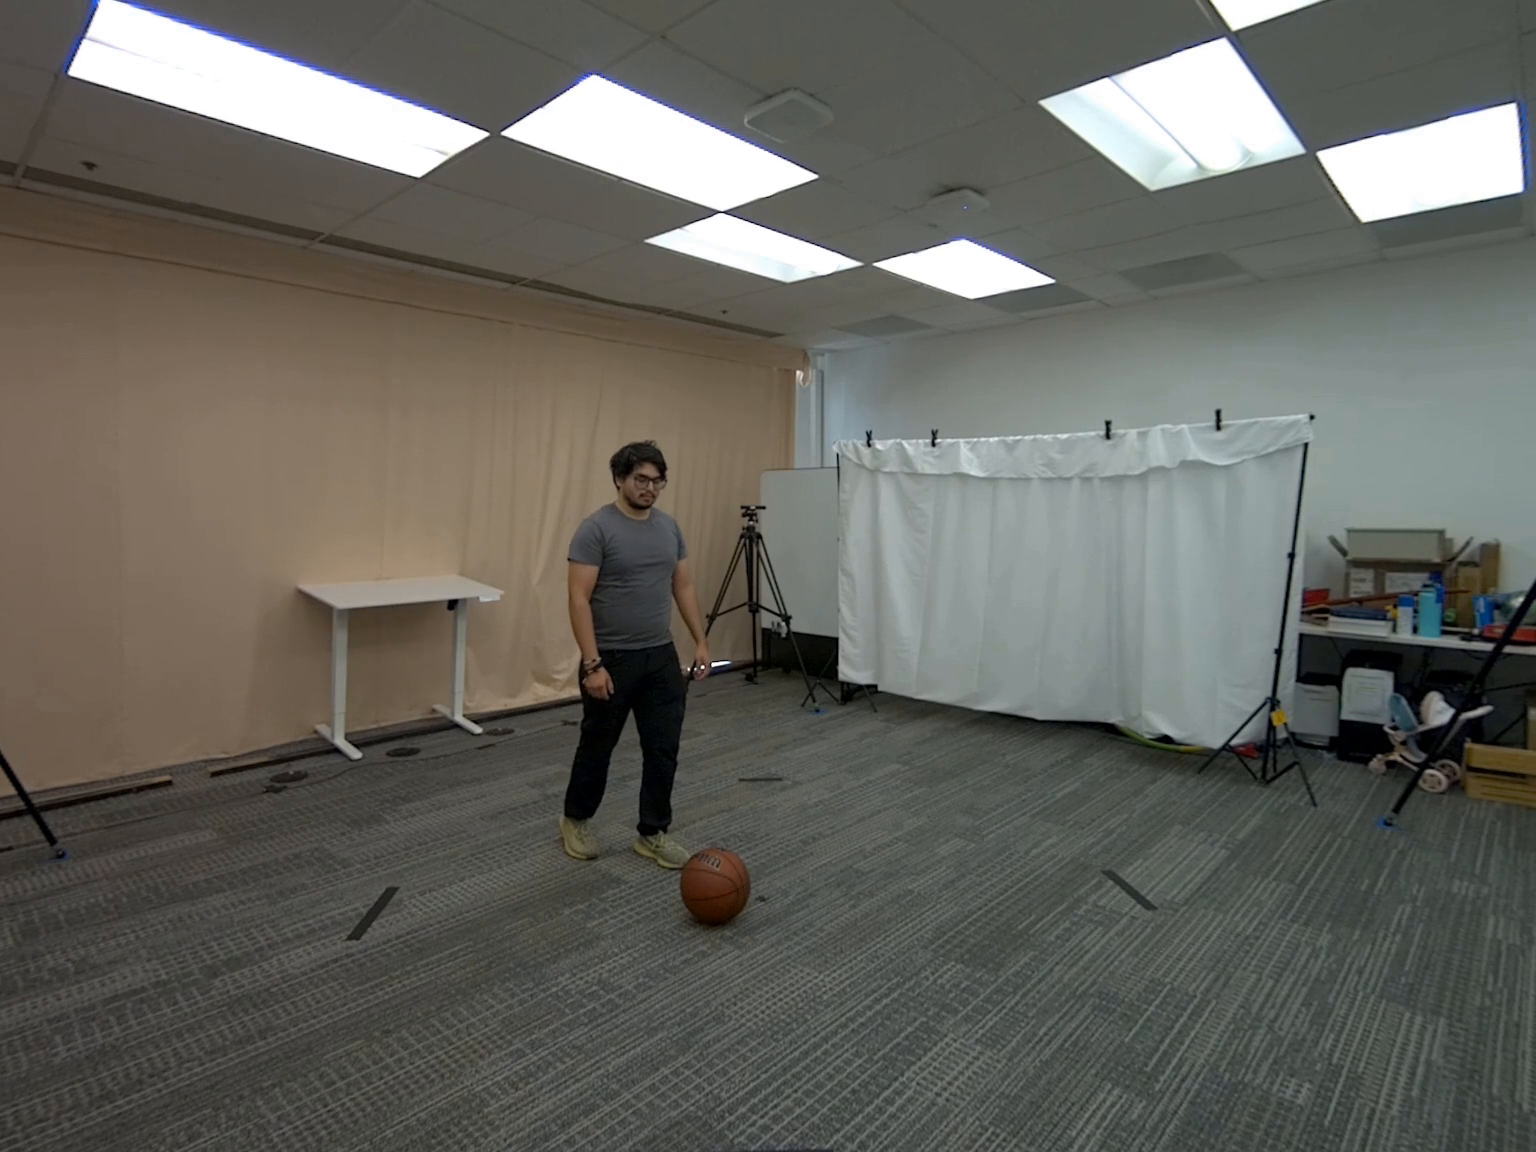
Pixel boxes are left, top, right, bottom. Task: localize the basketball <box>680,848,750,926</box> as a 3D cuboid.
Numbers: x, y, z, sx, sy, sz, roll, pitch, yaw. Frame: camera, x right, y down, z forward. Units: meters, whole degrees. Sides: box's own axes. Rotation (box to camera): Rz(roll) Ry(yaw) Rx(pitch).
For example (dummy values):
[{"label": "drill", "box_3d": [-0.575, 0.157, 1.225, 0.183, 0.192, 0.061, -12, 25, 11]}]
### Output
[{"label": "basketball", "box_3d": [-0.173, 1.034, 2.830, 0.236, 0.235, 0.237, 0, 4, -2]}]
